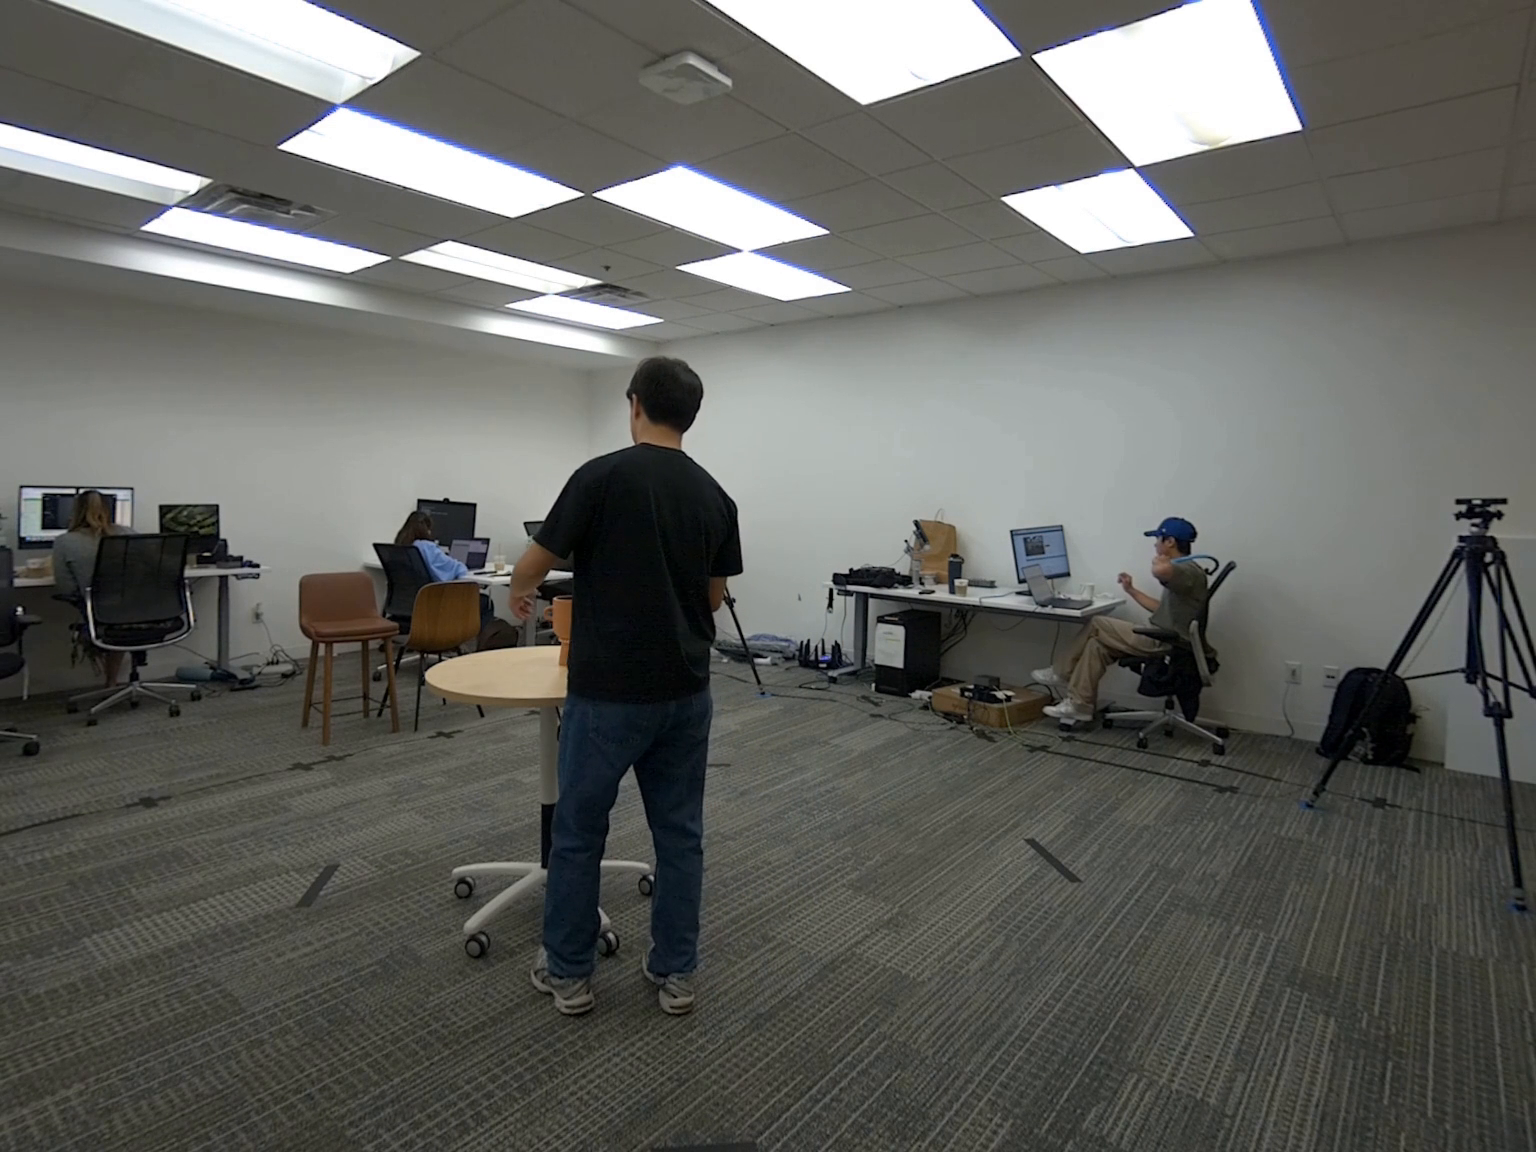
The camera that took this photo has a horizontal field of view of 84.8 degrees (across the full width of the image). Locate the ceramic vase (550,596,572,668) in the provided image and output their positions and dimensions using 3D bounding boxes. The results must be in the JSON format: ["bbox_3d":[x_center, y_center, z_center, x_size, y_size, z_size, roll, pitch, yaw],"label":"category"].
[{"bbox_3d":[-0.661,0.181,2.834,0.163,0.219,0.132,3,5,23],"label":"ceramic vase"}]
